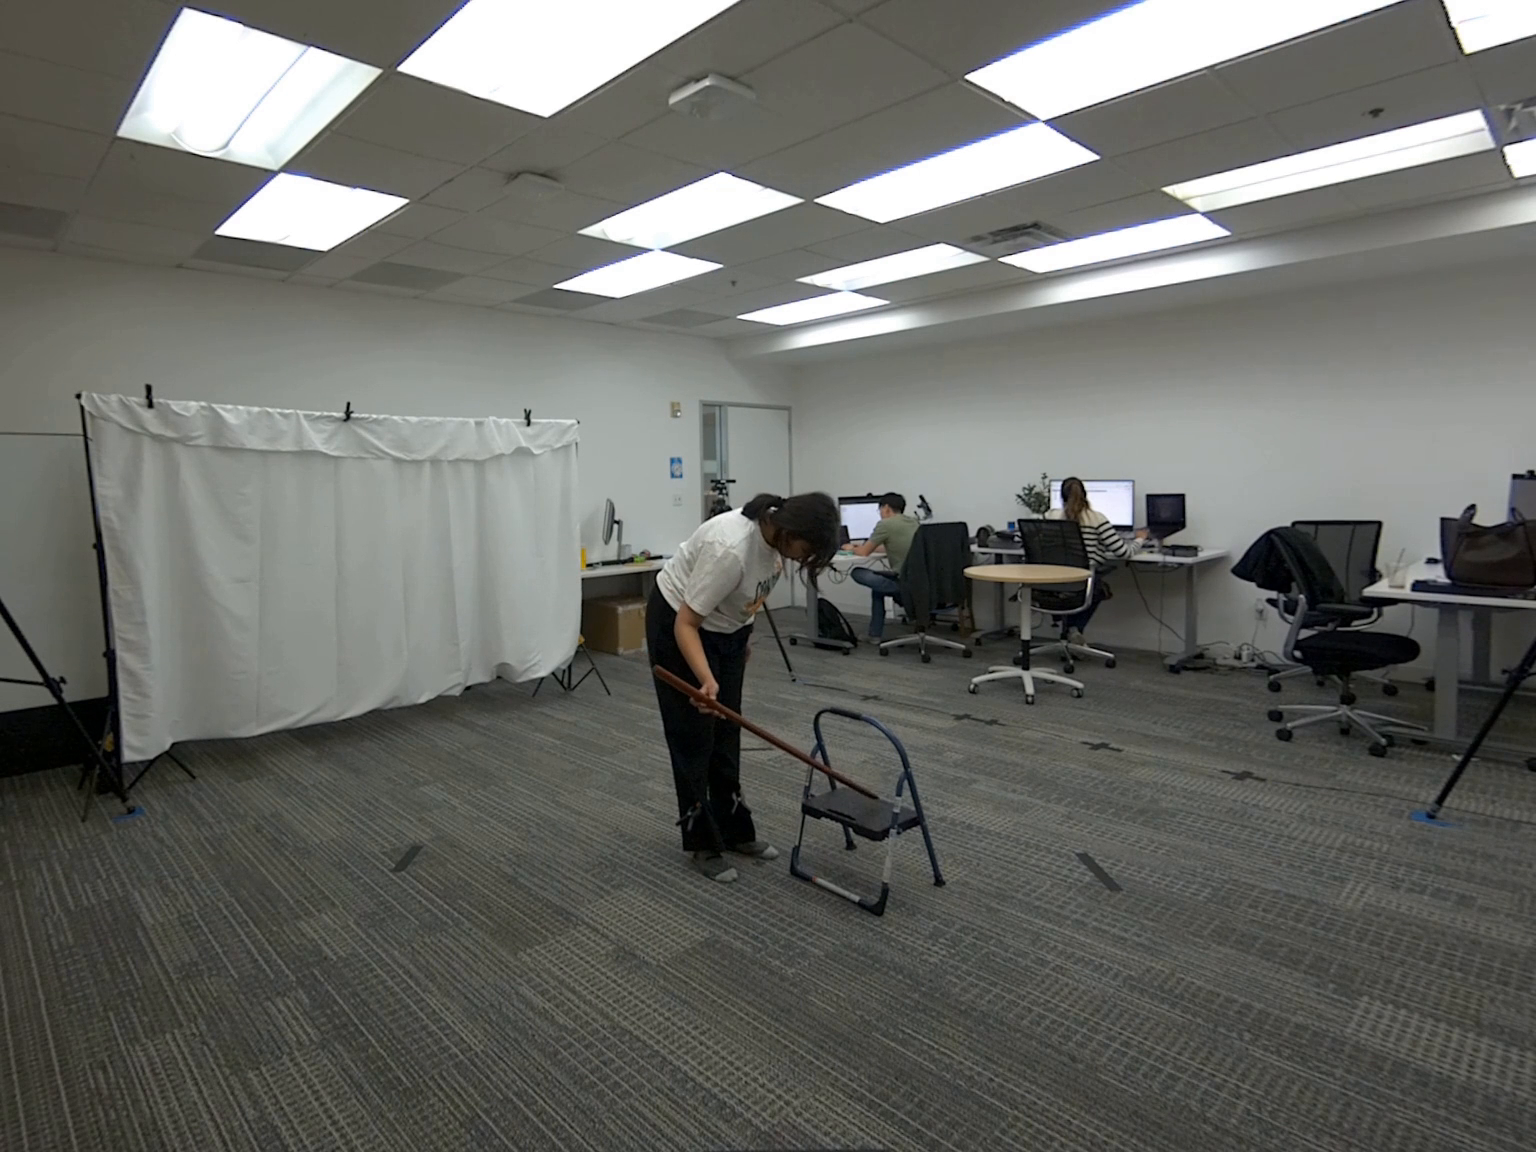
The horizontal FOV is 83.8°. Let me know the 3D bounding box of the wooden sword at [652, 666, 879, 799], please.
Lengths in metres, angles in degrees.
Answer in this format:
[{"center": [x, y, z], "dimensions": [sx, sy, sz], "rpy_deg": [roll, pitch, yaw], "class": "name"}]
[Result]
[{"center": [0.013, 0.504, 2.714], "dimensions": [0.024, 0.052, 0.988], "rpy_deg": [-28, -48, 34], "class": "wooden sword"}]
